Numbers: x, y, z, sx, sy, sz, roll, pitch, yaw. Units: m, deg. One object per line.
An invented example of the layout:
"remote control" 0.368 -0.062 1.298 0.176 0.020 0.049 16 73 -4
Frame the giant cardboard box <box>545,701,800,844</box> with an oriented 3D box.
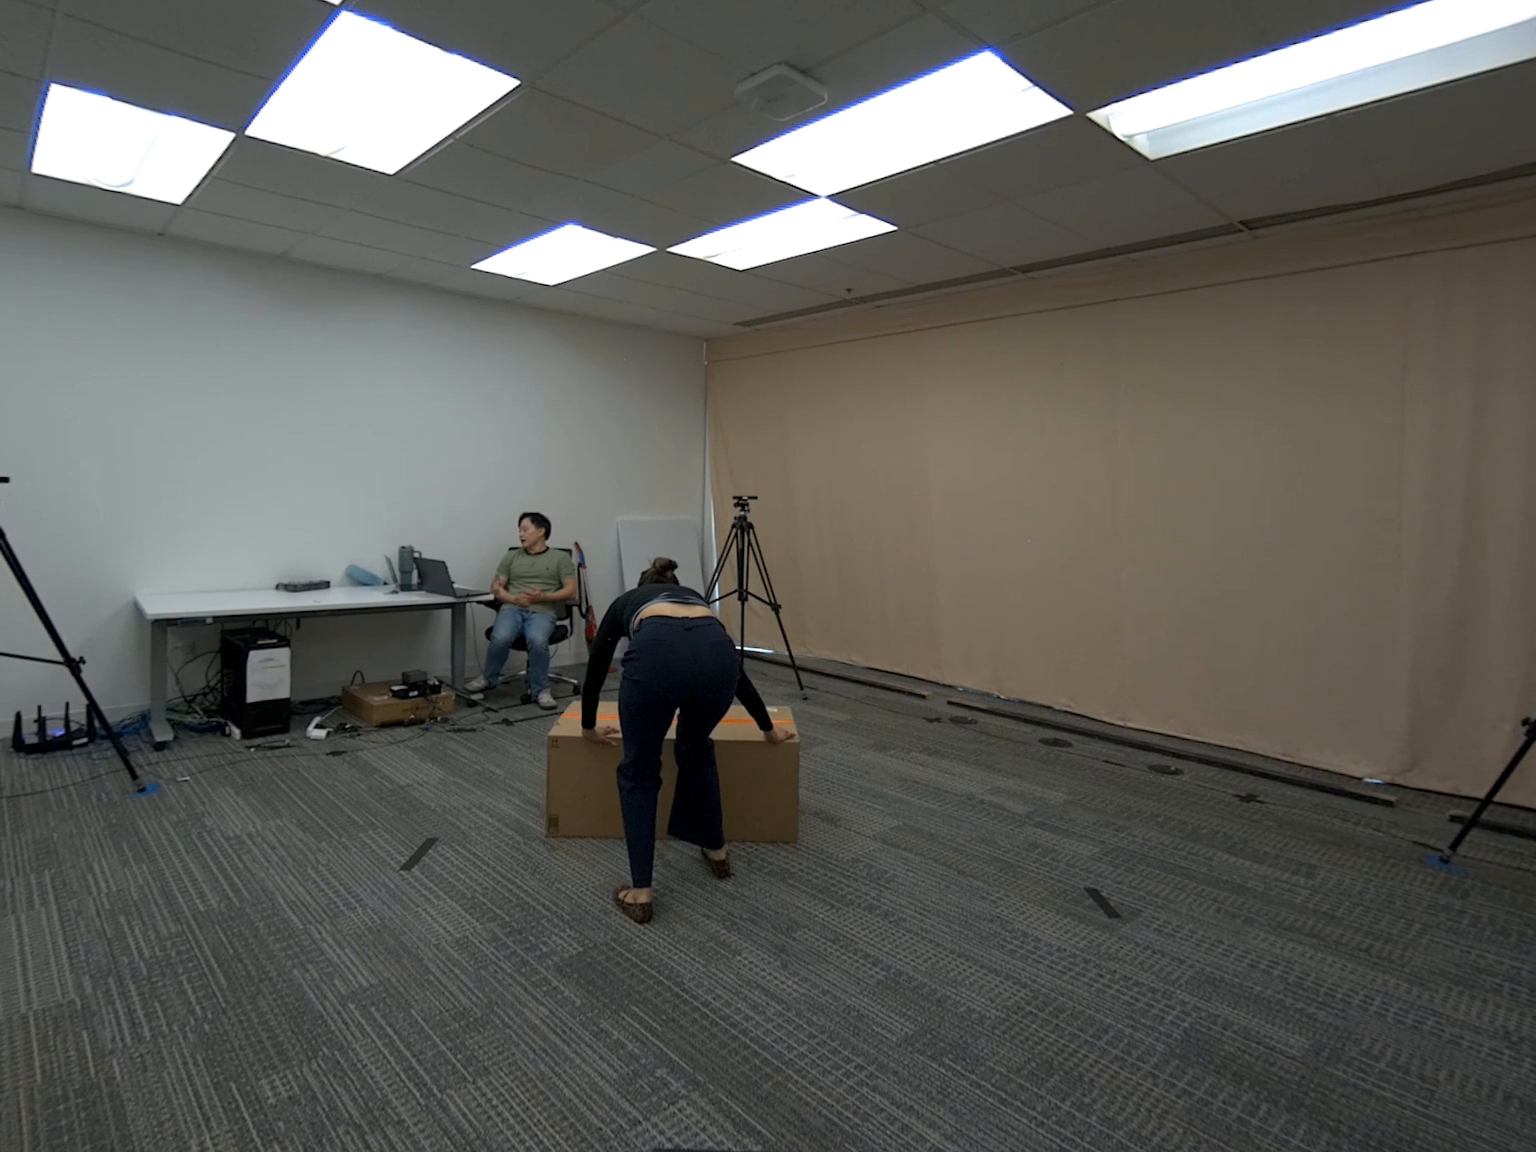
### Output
"giant cardboard box" -0.405 0.828 3.683 1.025 0.425 0.580 2 5 -1
